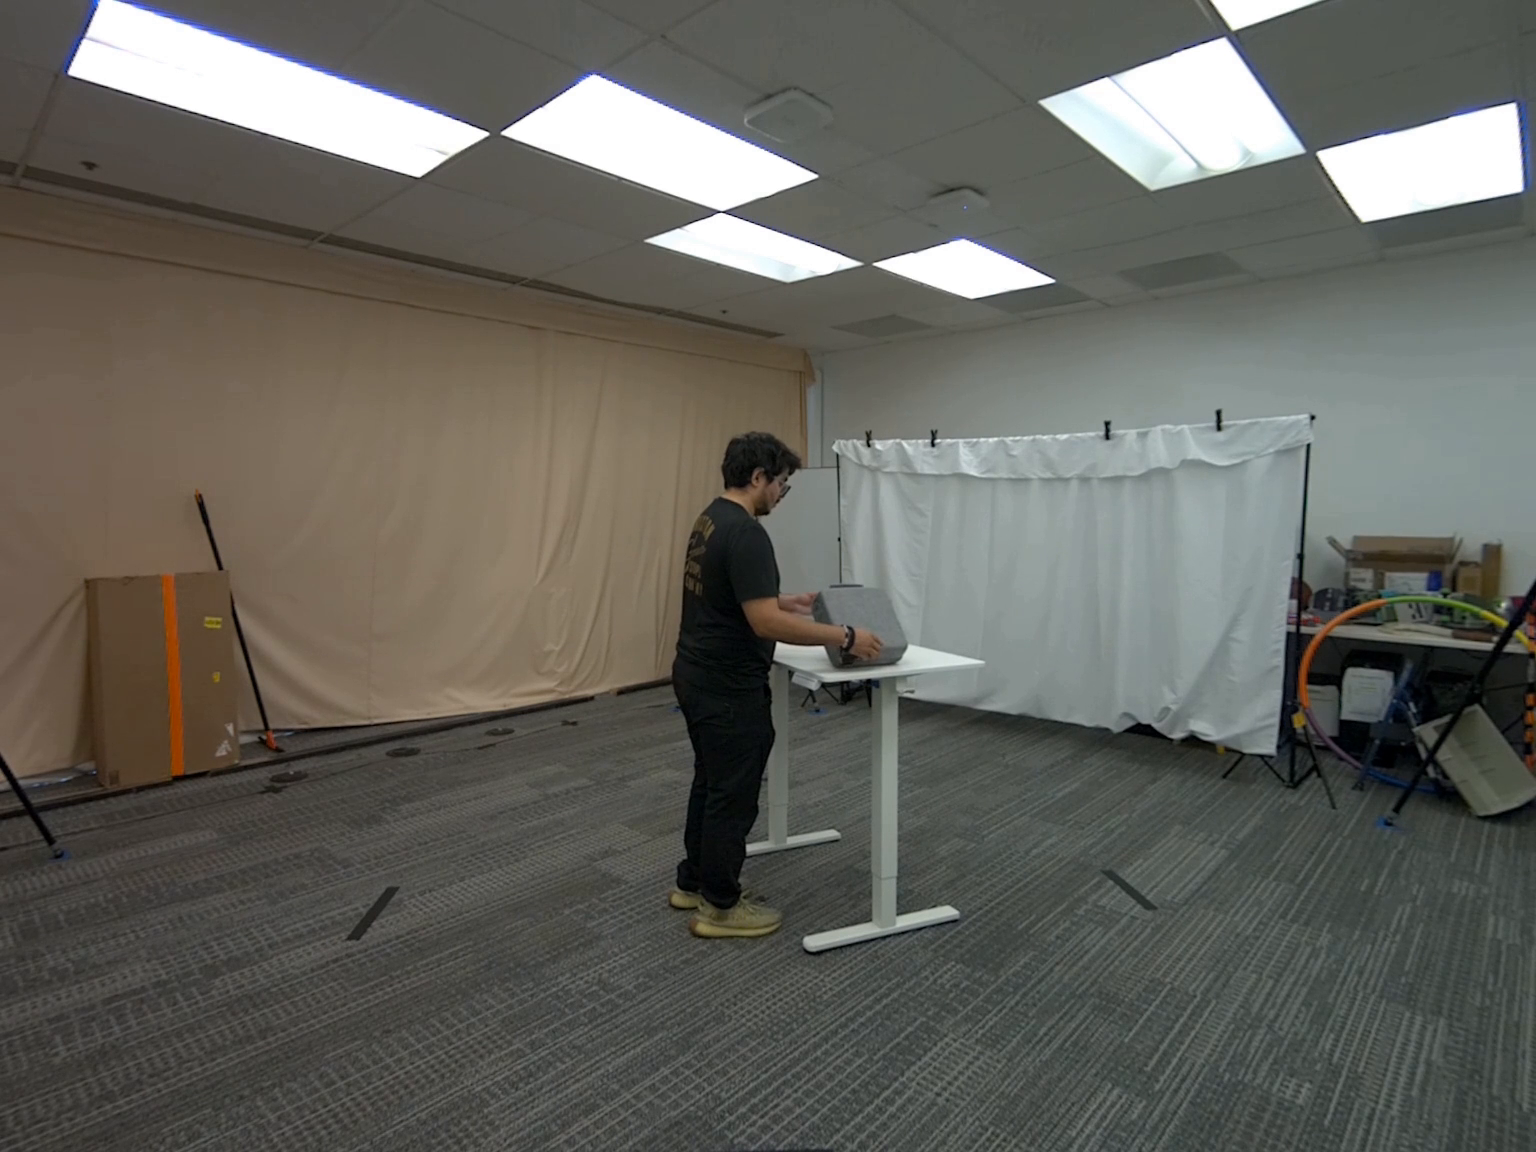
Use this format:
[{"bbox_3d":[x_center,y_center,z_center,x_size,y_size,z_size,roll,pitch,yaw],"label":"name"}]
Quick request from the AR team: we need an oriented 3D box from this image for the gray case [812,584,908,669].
[{"bbox_3d":[0.298,0.164,2.679,0.251,0.267,0.104,-1,-34,-22],"label":"gray case"}]
